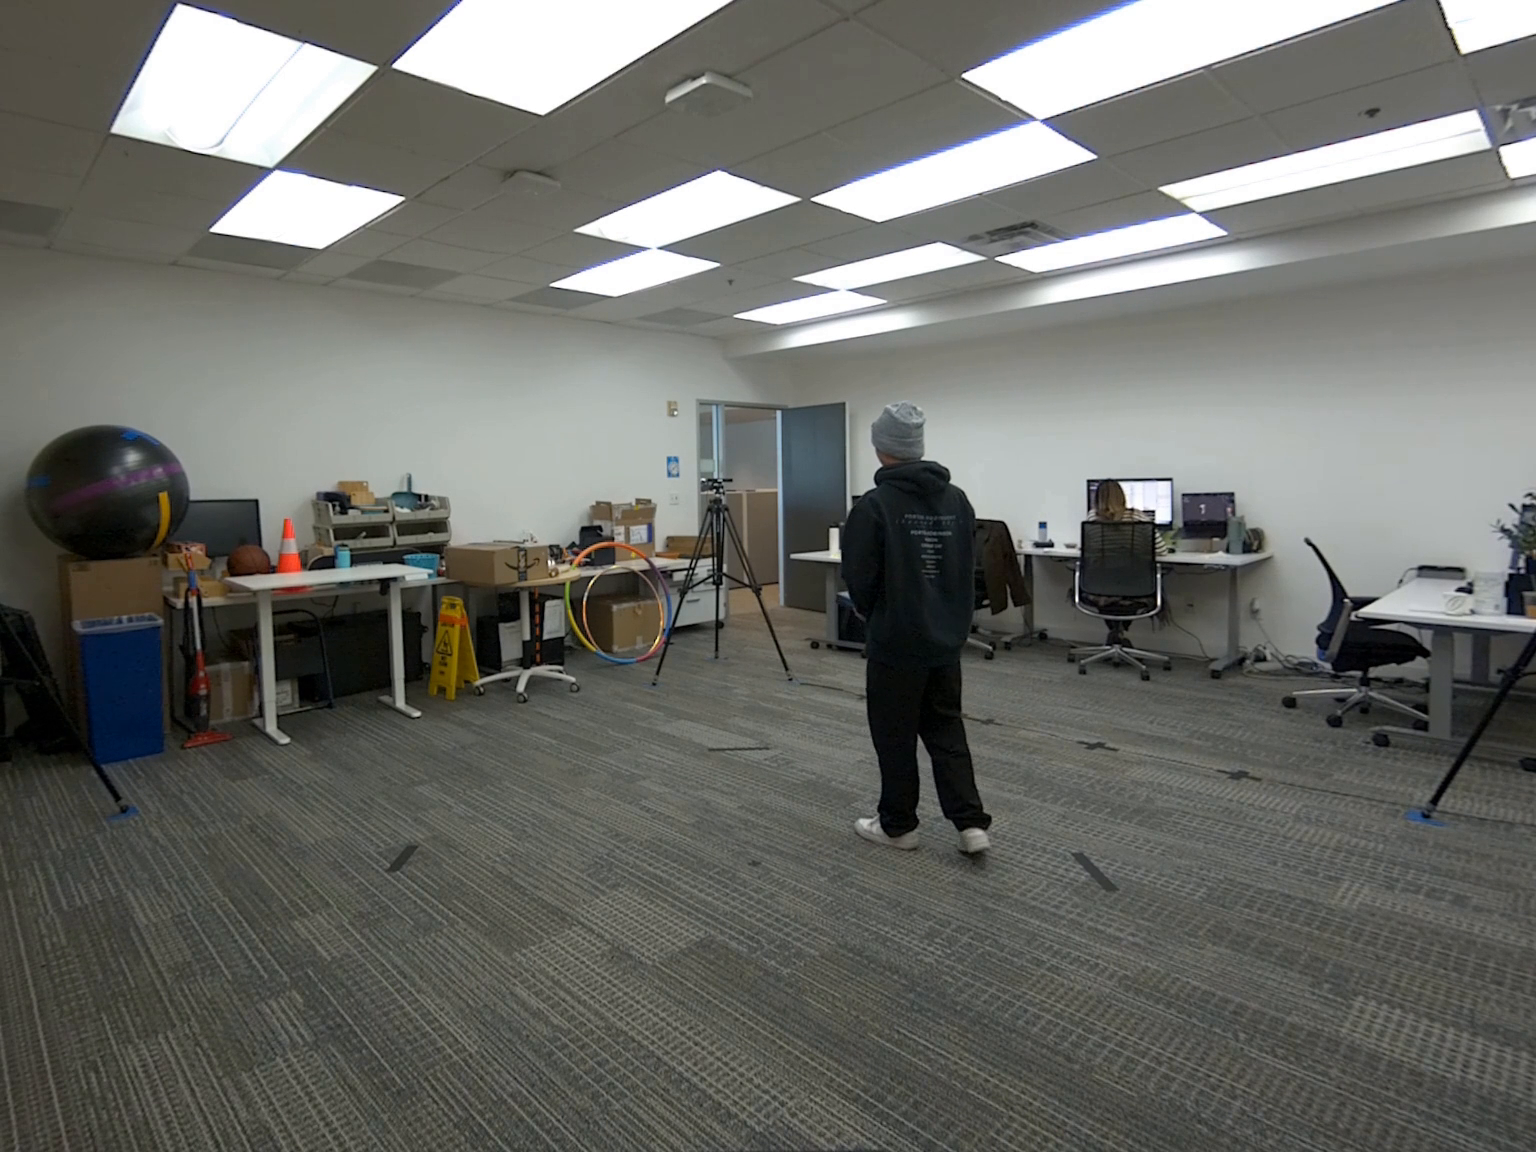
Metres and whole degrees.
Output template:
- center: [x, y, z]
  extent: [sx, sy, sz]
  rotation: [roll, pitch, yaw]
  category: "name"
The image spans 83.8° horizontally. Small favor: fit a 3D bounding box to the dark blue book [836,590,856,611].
- center: [0.436, 0.117, 3.467]
  extent: [0.160, 0.045, 0.253]
  rotation: [-4, 15, -26]
  category: "dark blue book"
